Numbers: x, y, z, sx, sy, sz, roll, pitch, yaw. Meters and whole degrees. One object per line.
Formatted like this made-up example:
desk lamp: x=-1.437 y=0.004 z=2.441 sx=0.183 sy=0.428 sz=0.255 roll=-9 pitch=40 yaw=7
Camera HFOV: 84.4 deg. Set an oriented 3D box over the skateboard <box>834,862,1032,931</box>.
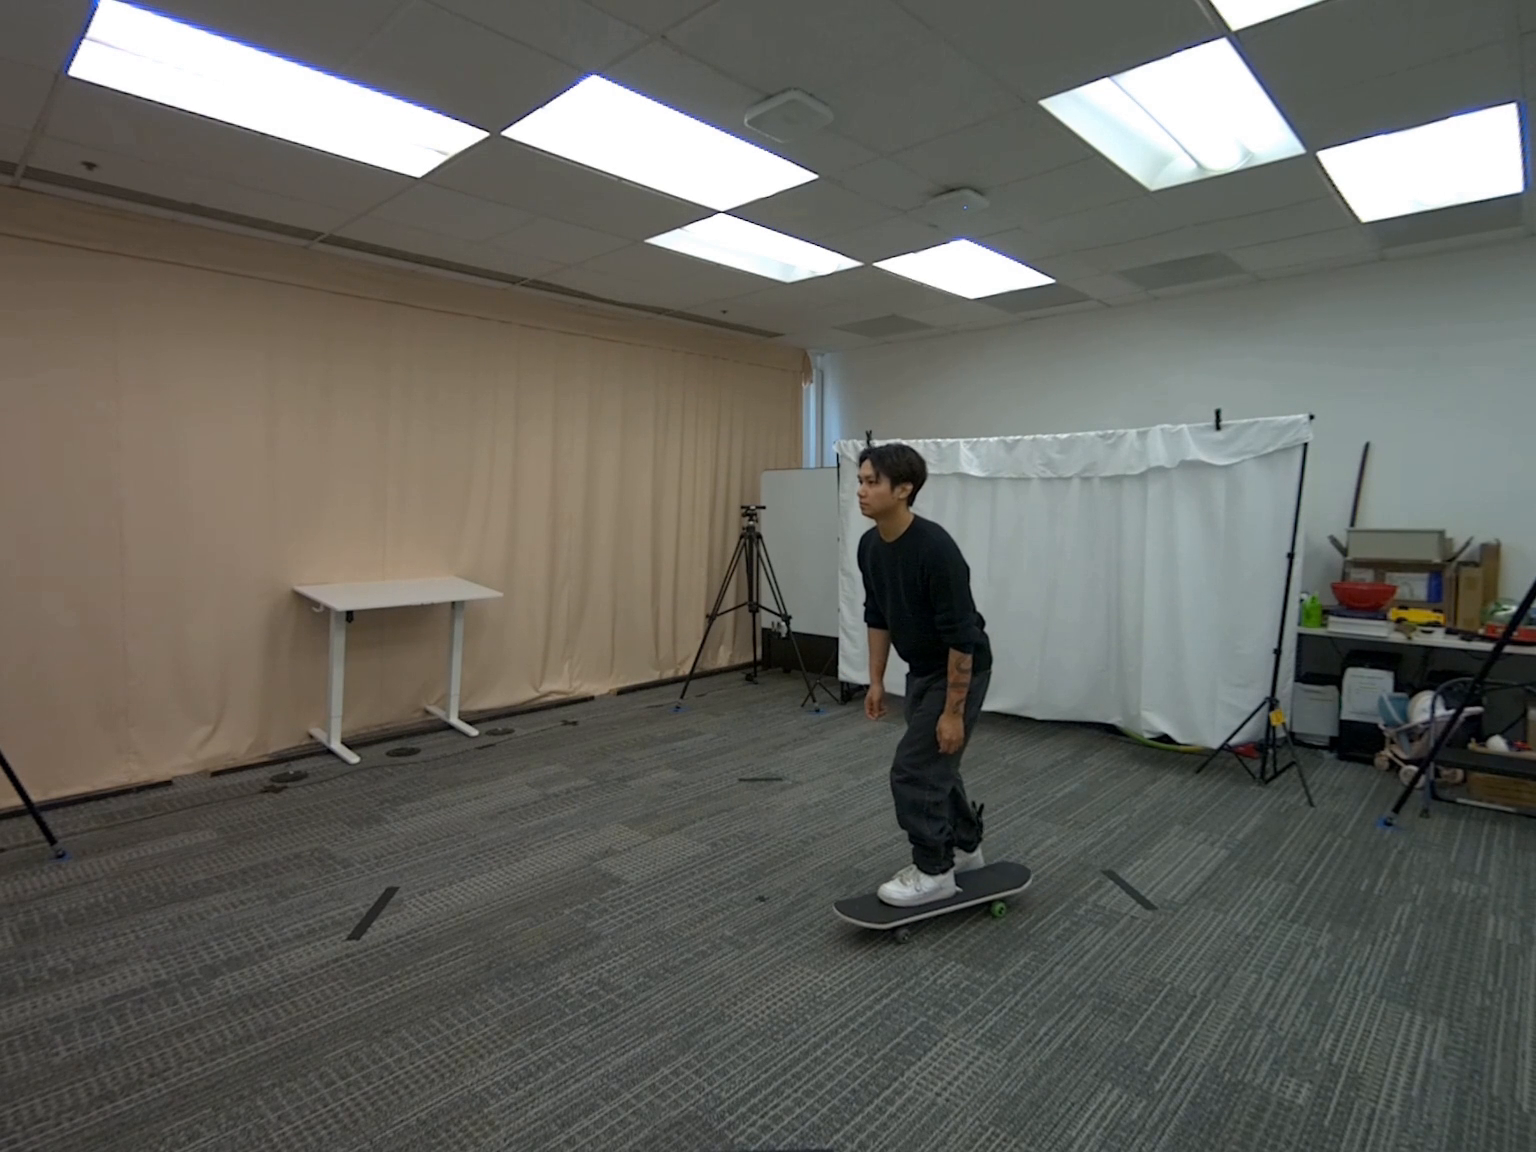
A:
skateboard: x=0.569 y=1.099 z=2.823 sx=0.767 sy=0.110 sz=0.198 roll=-2 pitch=5 yaw=-25
